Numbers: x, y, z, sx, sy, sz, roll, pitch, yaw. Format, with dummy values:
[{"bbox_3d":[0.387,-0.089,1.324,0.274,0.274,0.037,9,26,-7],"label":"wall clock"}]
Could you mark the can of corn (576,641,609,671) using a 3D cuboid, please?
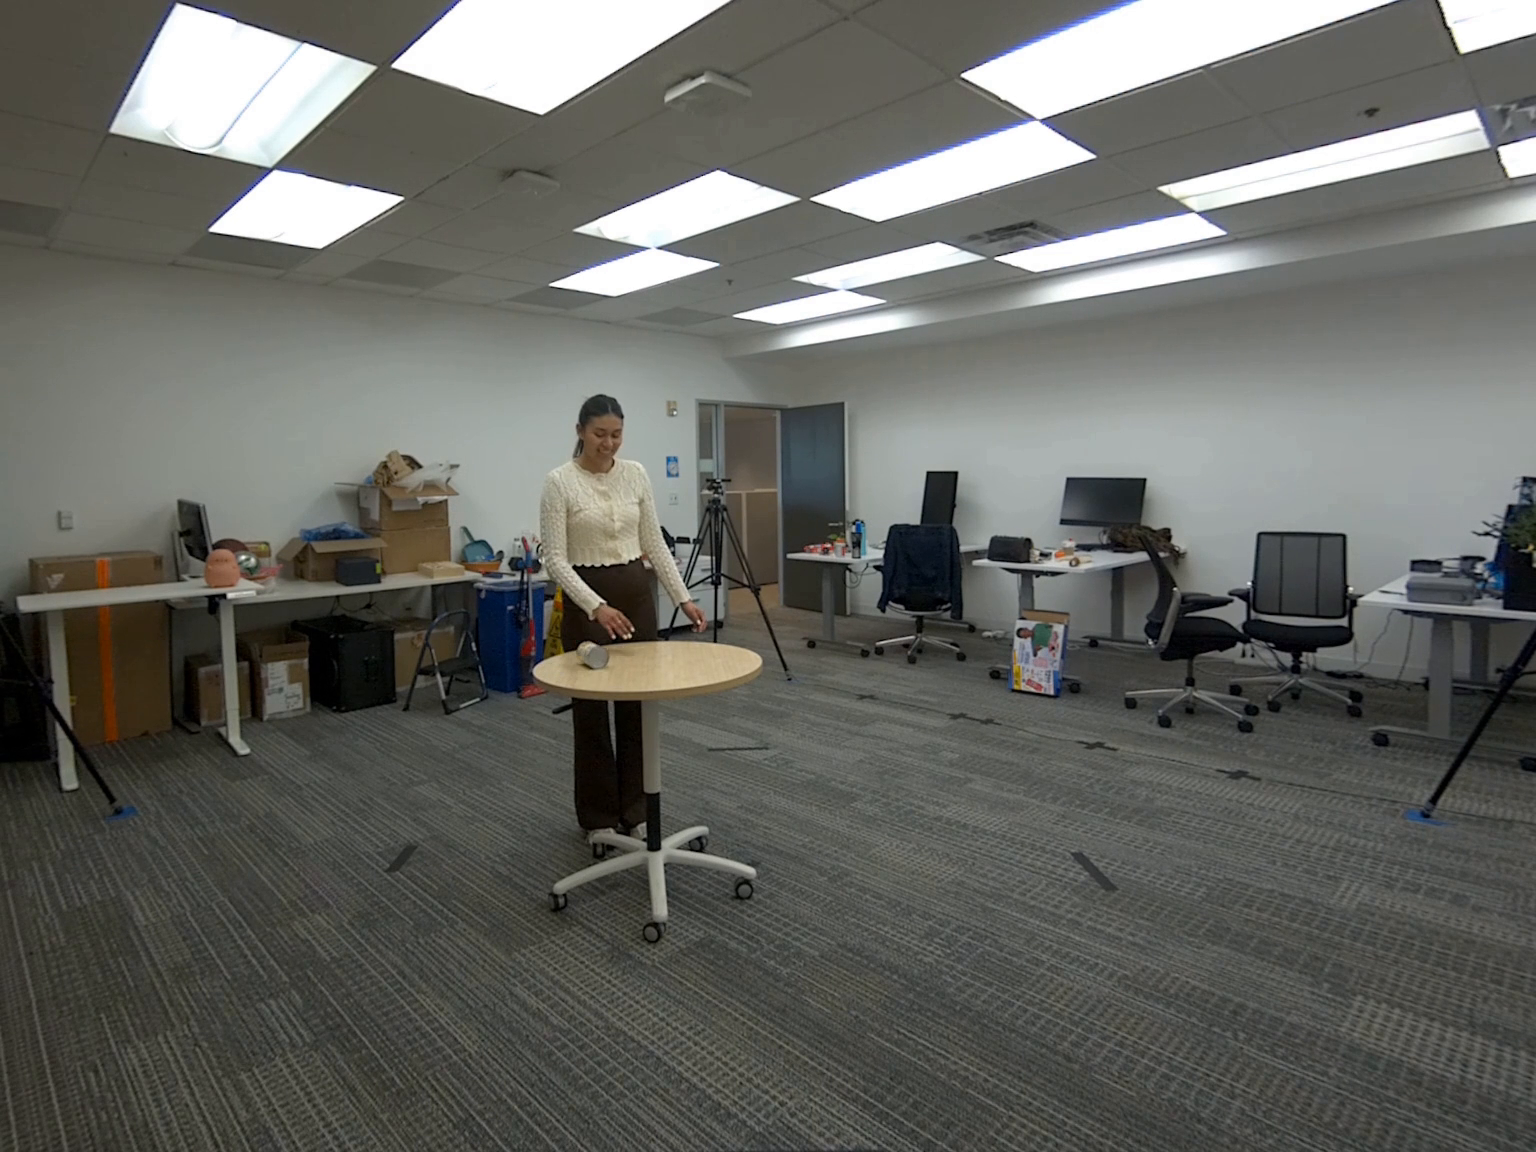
[{"bbox_3d":[-0.597,0.264,2.855,0.072,0.074,0.114,-3,6,-28],"label":"can of corn"}]
